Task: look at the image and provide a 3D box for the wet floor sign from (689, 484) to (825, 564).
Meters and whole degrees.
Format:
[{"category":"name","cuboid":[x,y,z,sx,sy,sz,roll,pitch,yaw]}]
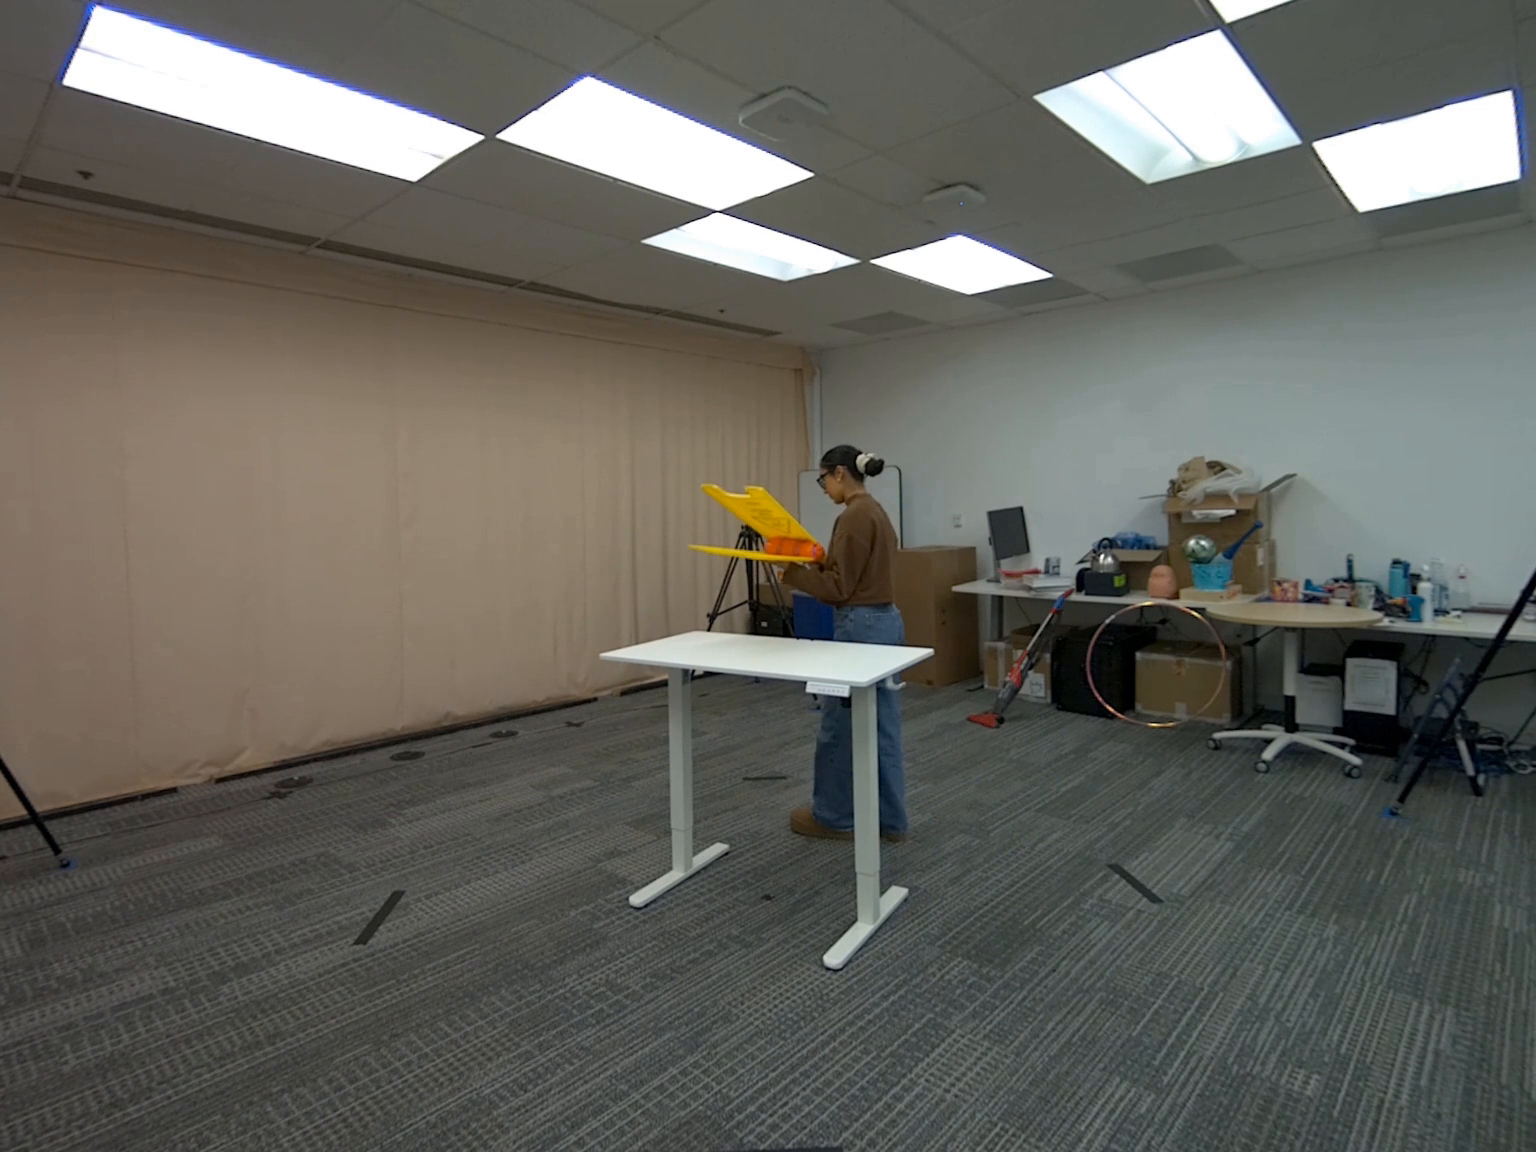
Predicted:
[{"category":"wet floor sign","cuboid":[0.004,-0.137,3.296,0.291,0.290,0.624,7,-7,34]}]
